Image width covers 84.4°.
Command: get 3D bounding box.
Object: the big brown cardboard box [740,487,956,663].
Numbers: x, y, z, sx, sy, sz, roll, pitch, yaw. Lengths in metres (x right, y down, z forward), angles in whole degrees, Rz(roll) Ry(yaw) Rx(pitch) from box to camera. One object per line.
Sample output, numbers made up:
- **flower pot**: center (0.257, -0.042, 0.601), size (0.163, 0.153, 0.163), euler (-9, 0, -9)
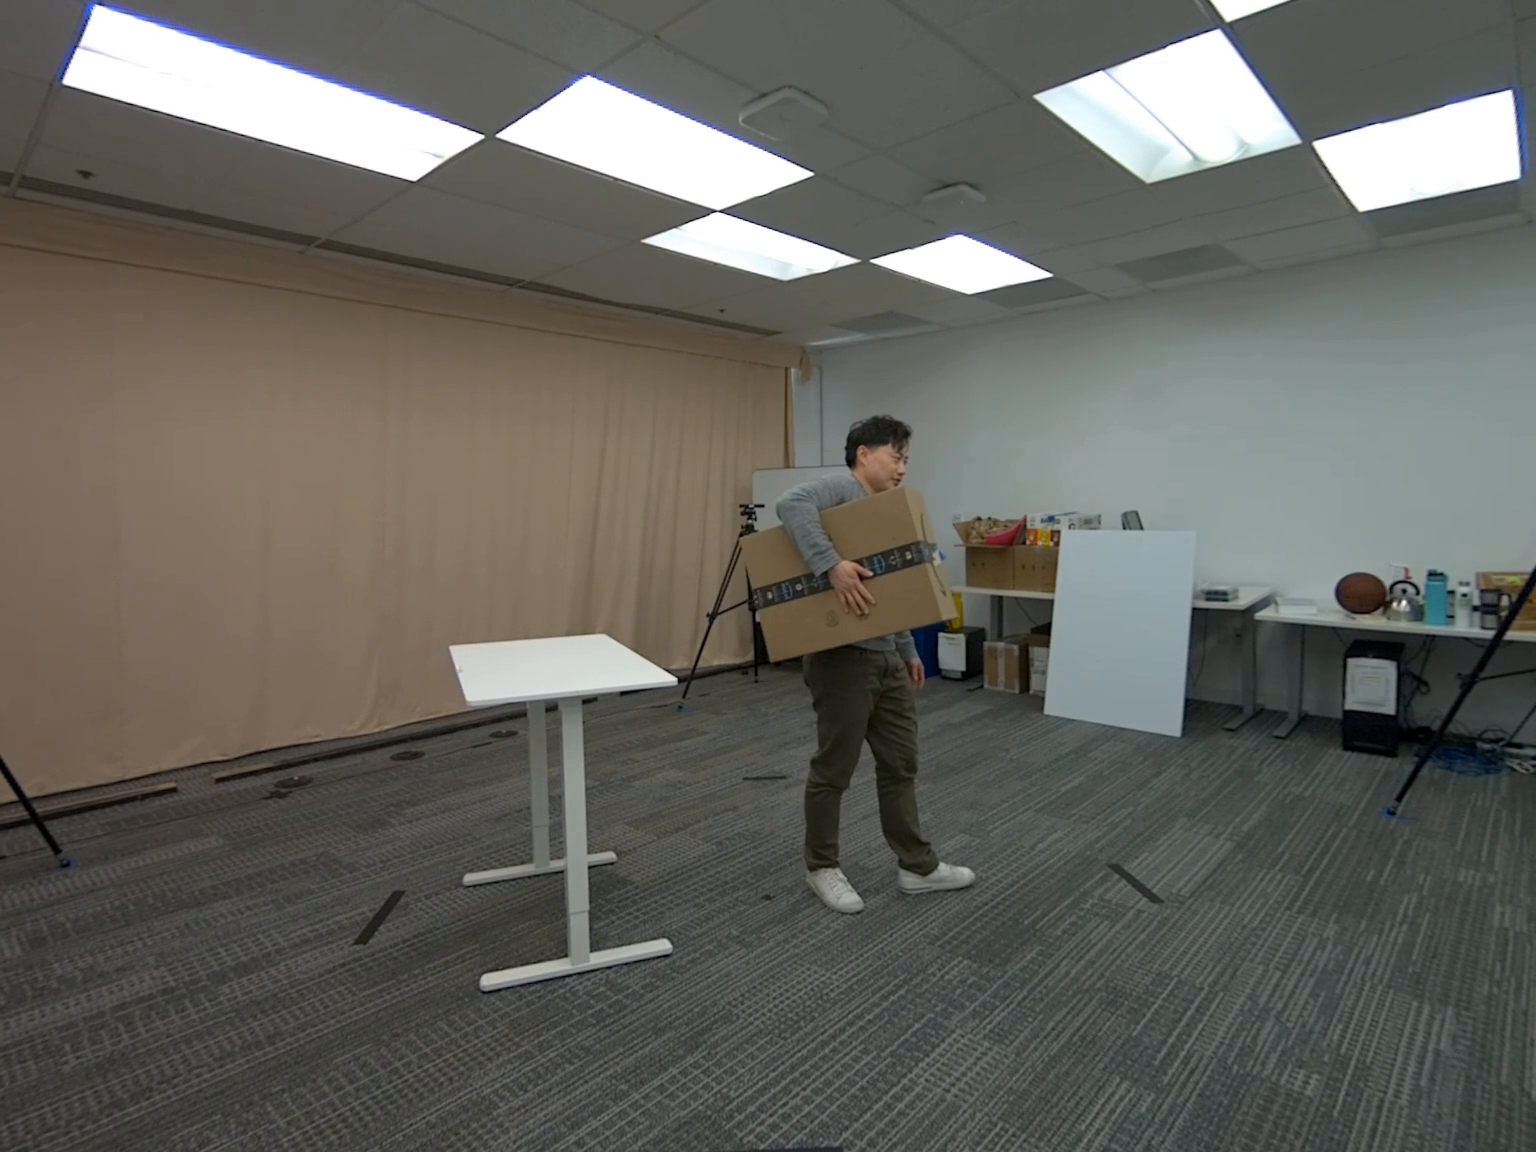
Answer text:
- **big brown cardboard box**: center (0.248, 0.005, 2.673), size (0.601, 0.420, 0.227), euler (-17, -8, 26)
